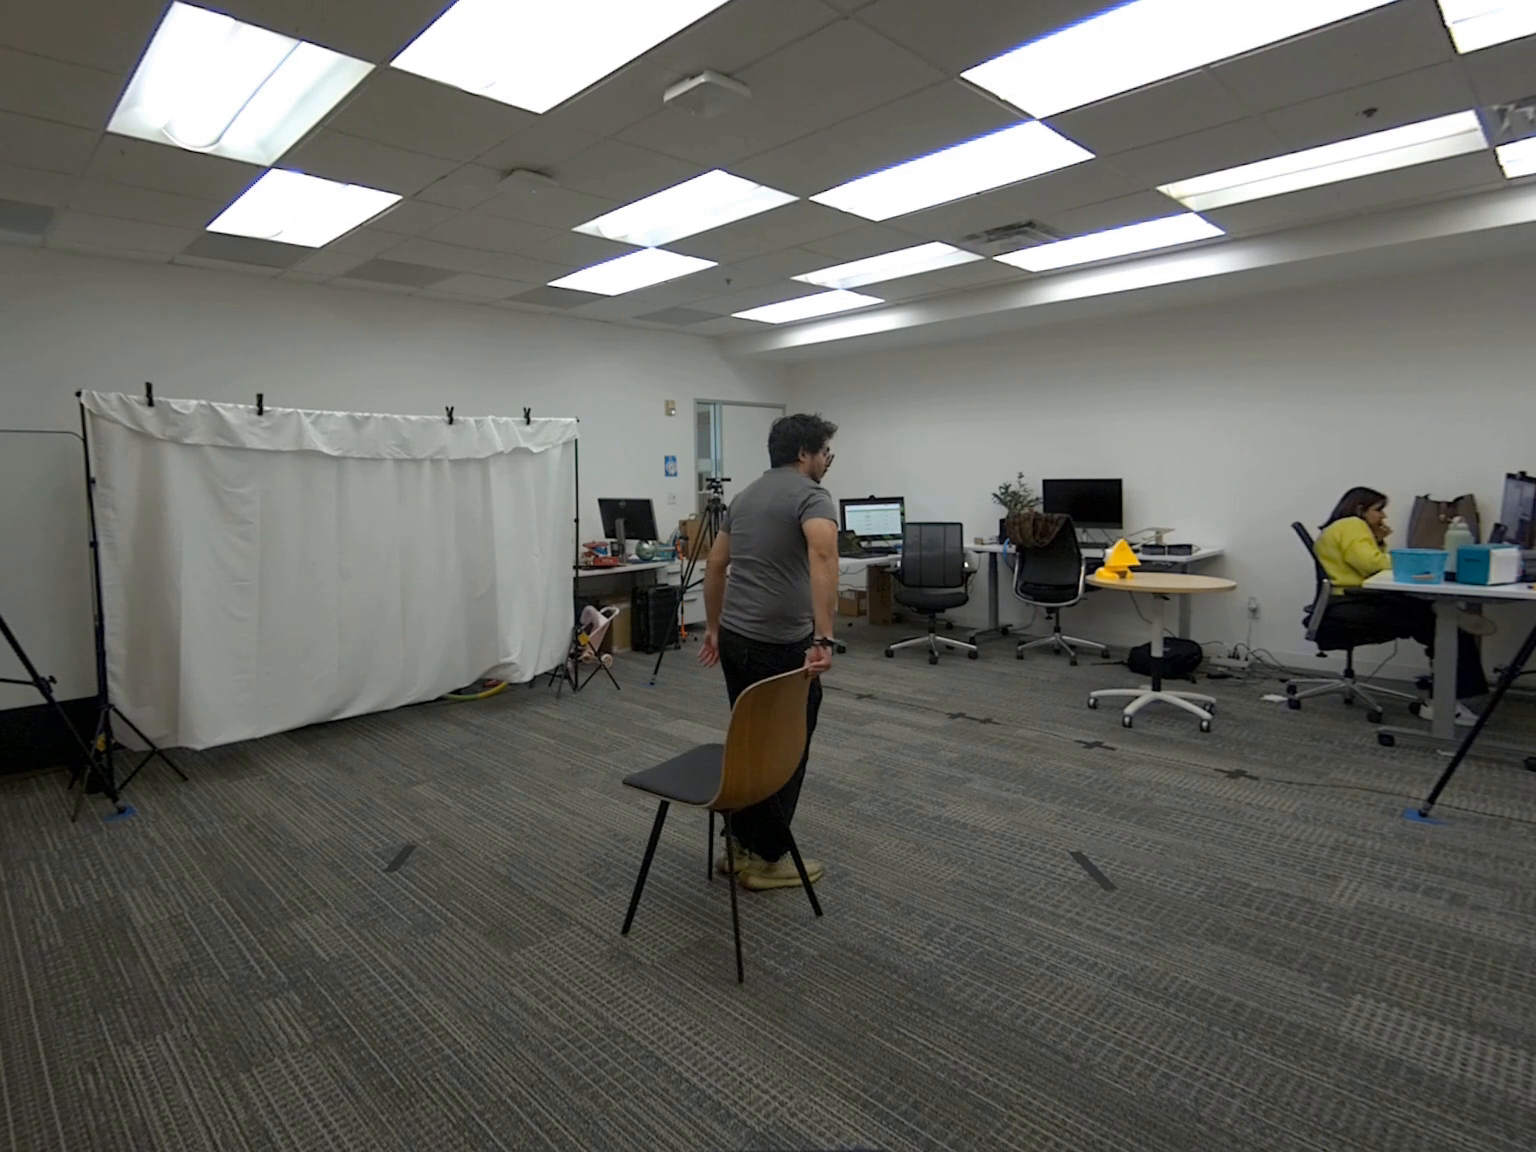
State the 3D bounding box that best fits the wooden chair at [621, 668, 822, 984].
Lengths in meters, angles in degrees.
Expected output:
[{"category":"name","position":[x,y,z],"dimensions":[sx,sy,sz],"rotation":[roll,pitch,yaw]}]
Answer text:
[{"category":"wooden chair","position":[-0.147,0.670,2.648],"dimensions":[0.539,0.872,0.466],"rotation":[8,9,34]}]
